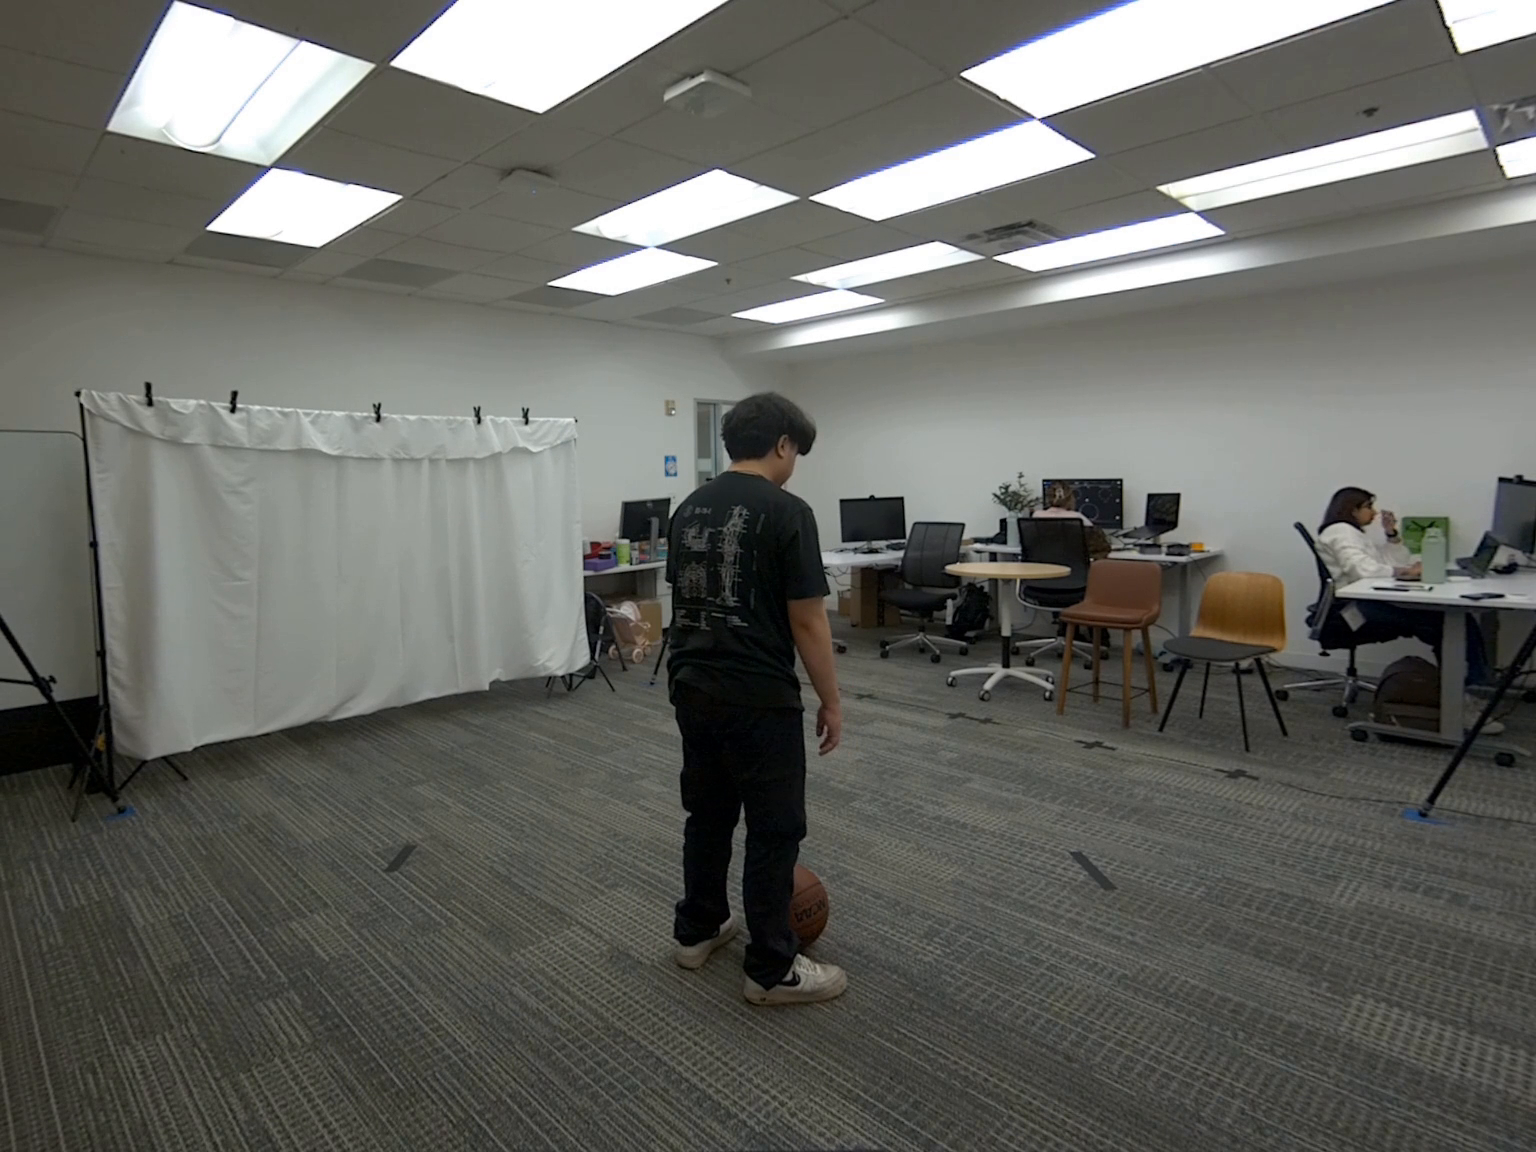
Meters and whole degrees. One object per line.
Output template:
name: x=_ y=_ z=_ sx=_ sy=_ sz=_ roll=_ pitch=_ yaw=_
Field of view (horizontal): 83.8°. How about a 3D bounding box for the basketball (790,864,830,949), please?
basketball: x=0.064 y=0.984 z=2.556 sx=0.236 sy=0.235 sz=0.237 roll=-1 pitch=5 yaw=-2
